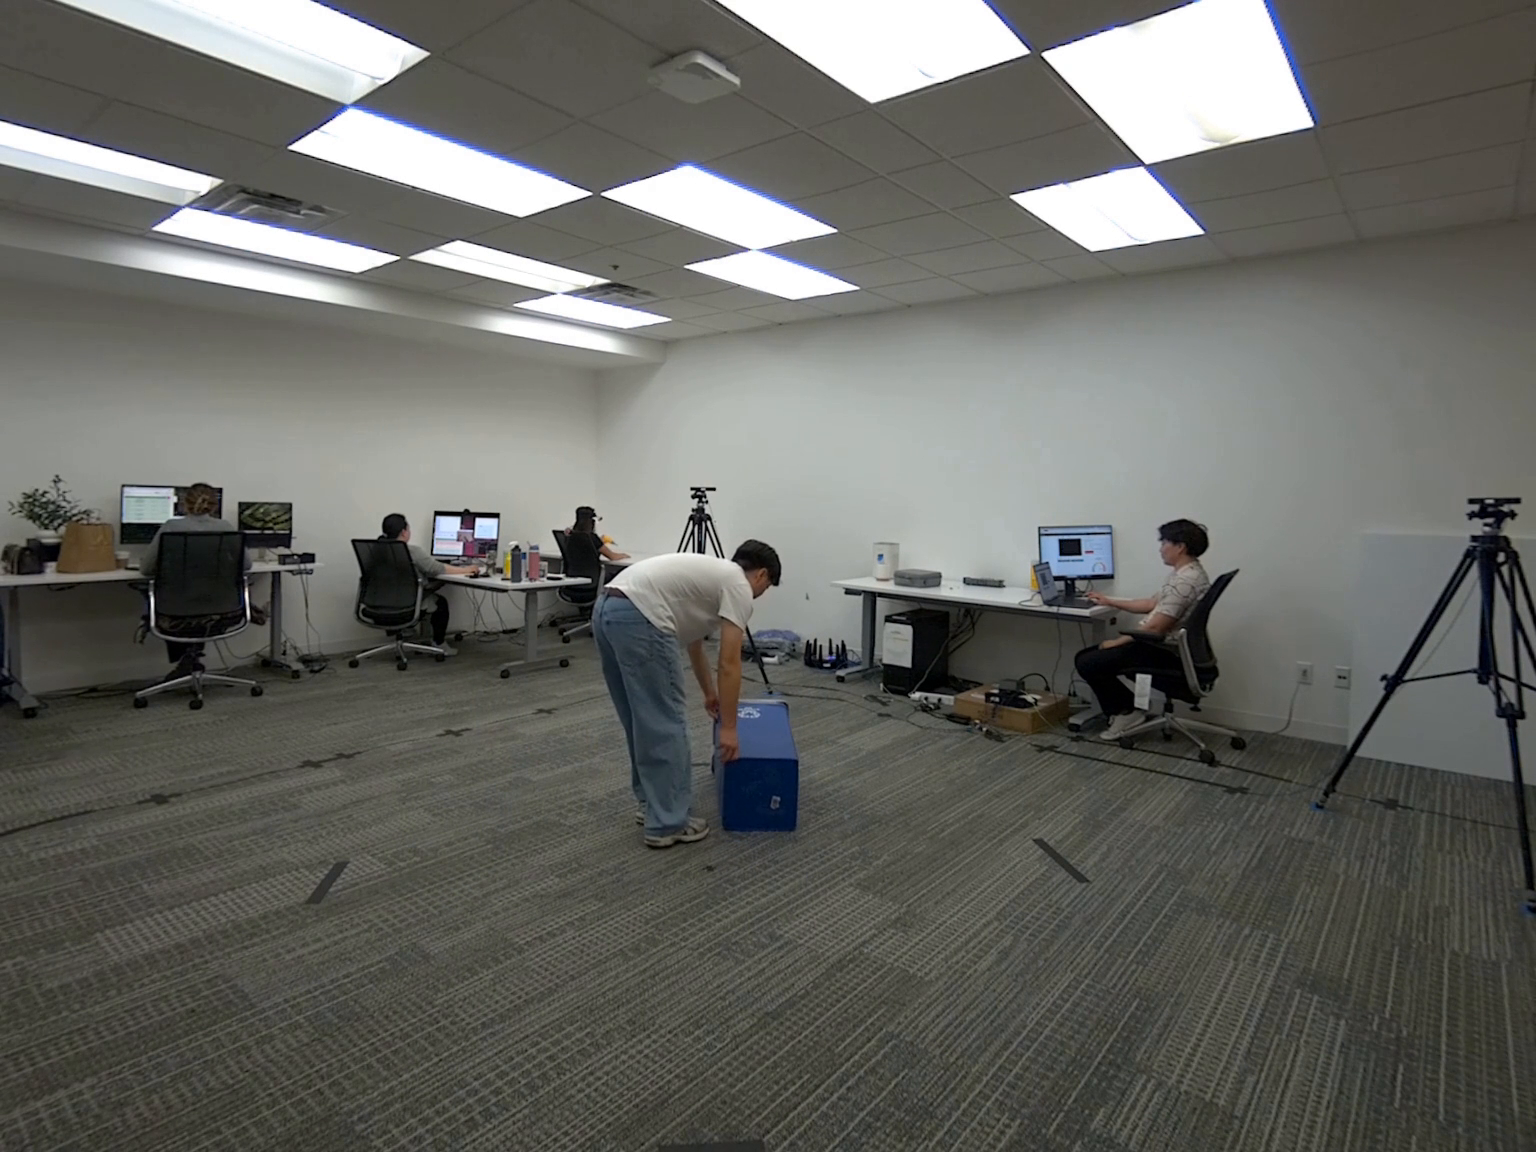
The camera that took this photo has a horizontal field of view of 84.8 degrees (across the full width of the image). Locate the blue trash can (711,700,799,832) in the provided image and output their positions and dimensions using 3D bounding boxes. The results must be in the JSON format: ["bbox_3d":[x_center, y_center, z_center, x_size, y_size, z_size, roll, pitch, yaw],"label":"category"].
[{"bbox_3d":[-0.063,0.834,3.801,0.373,0.375,0.721,1,8,-5],"label":"blue trash can"}]
